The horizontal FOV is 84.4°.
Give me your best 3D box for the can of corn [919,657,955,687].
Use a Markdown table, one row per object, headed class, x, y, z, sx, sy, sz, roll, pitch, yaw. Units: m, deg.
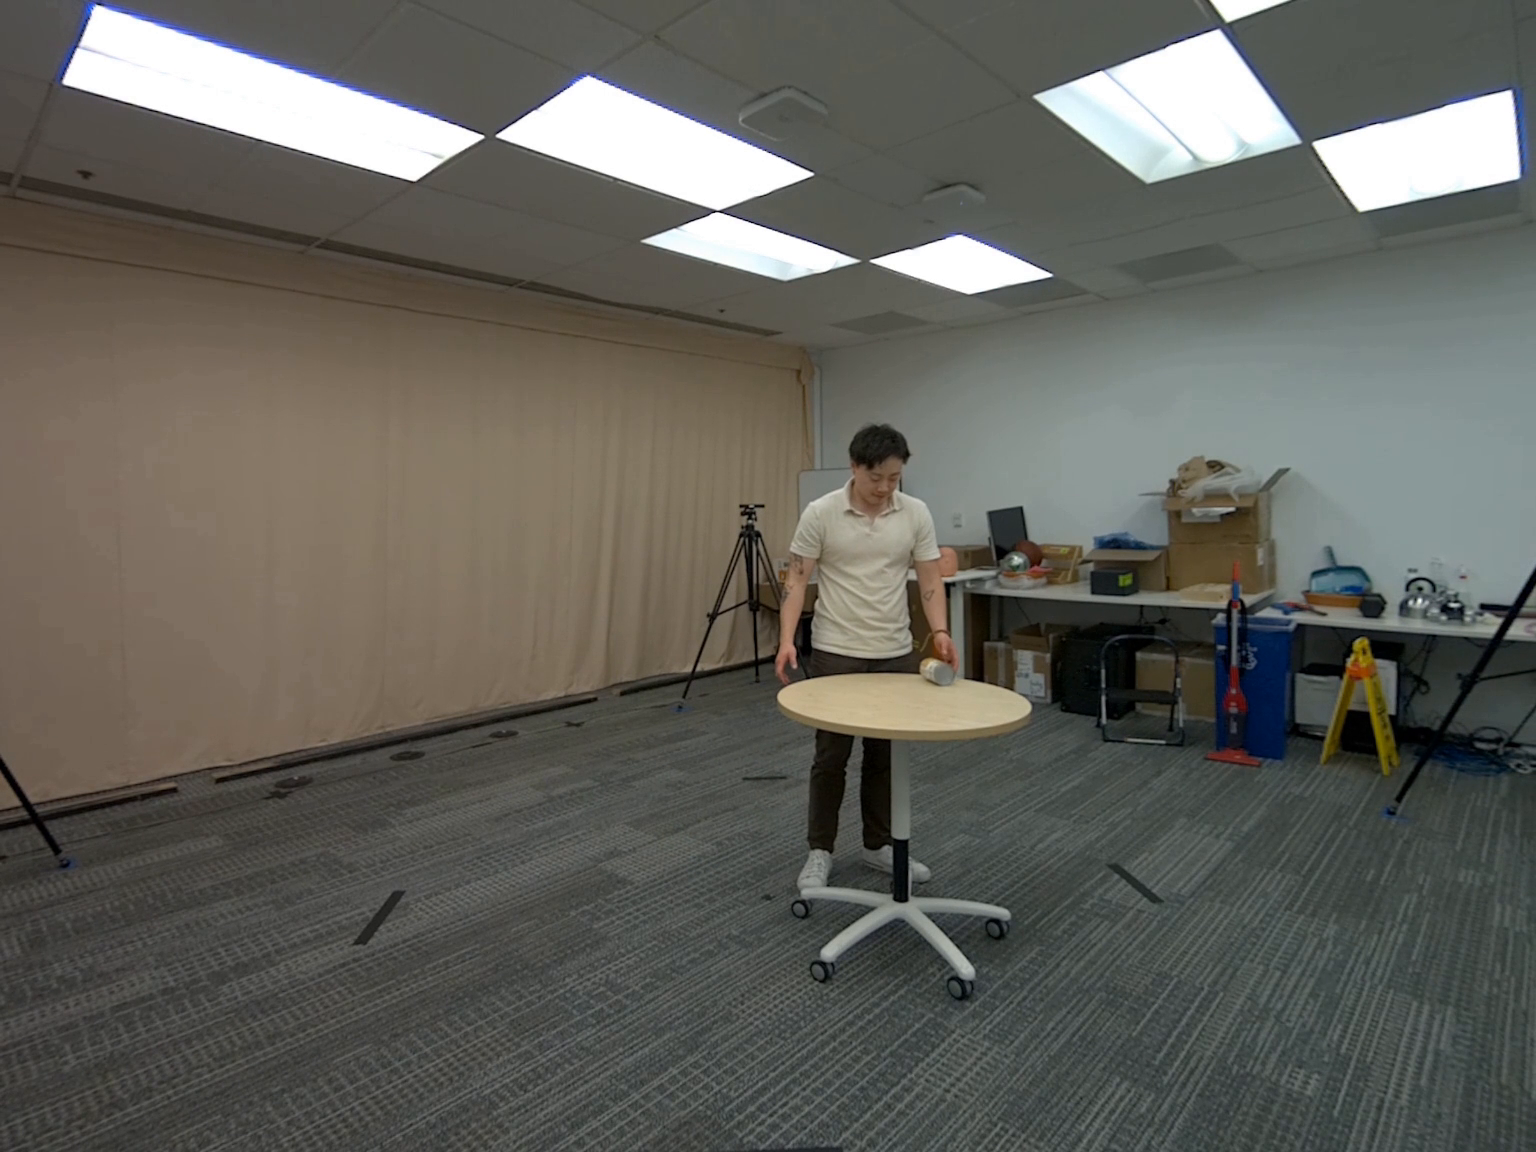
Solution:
| class | x | y | z | sx | sy | sz | roll | pitch | yaw |
| --- | --- | --- | --- | --- | --- | --- | --- | --- | --- |
| can of corn | 0.565 | 0.320 | 2.834 | 0.073 | 0.074 | 0.113 | -2 | 5 | -13 |
